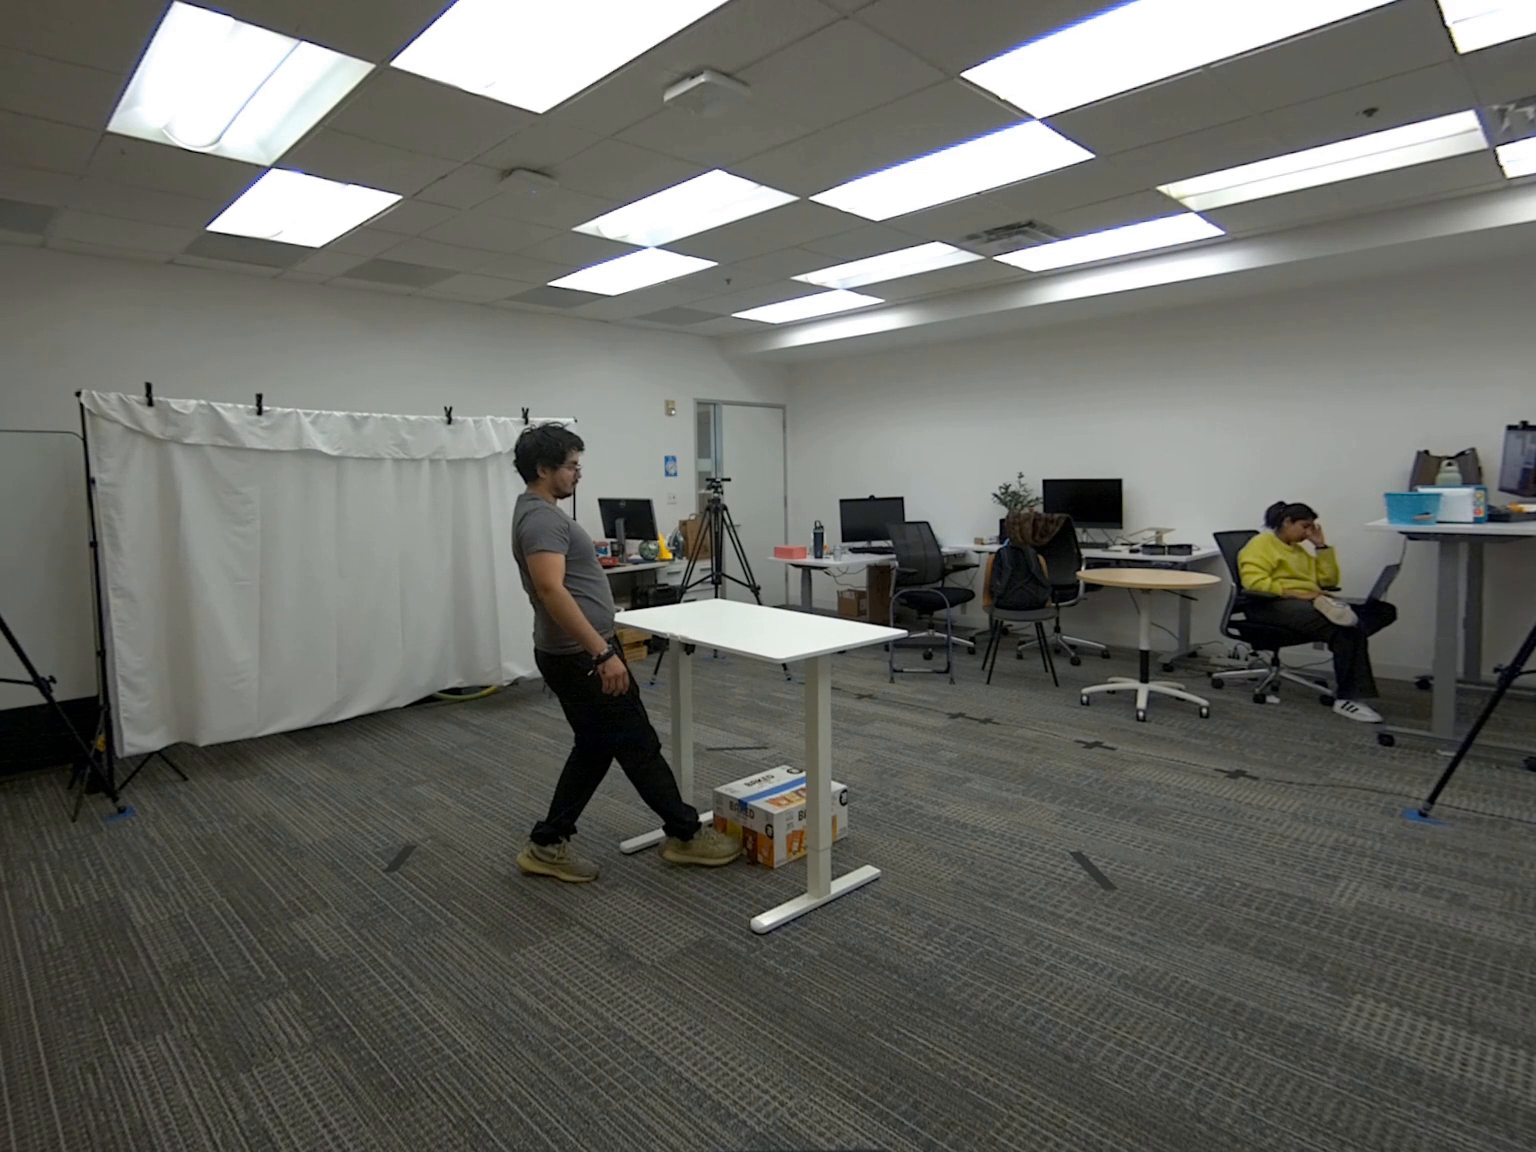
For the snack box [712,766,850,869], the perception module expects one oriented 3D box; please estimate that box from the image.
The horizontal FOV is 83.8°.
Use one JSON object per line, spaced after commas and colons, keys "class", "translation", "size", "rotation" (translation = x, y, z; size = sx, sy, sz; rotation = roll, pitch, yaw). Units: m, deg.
{"class": "snack box", "translation": [0.046, 0.917, 3.299], "size": [0.394, 0.205, 0.351], "rotation": [-7, 8, -43]}
